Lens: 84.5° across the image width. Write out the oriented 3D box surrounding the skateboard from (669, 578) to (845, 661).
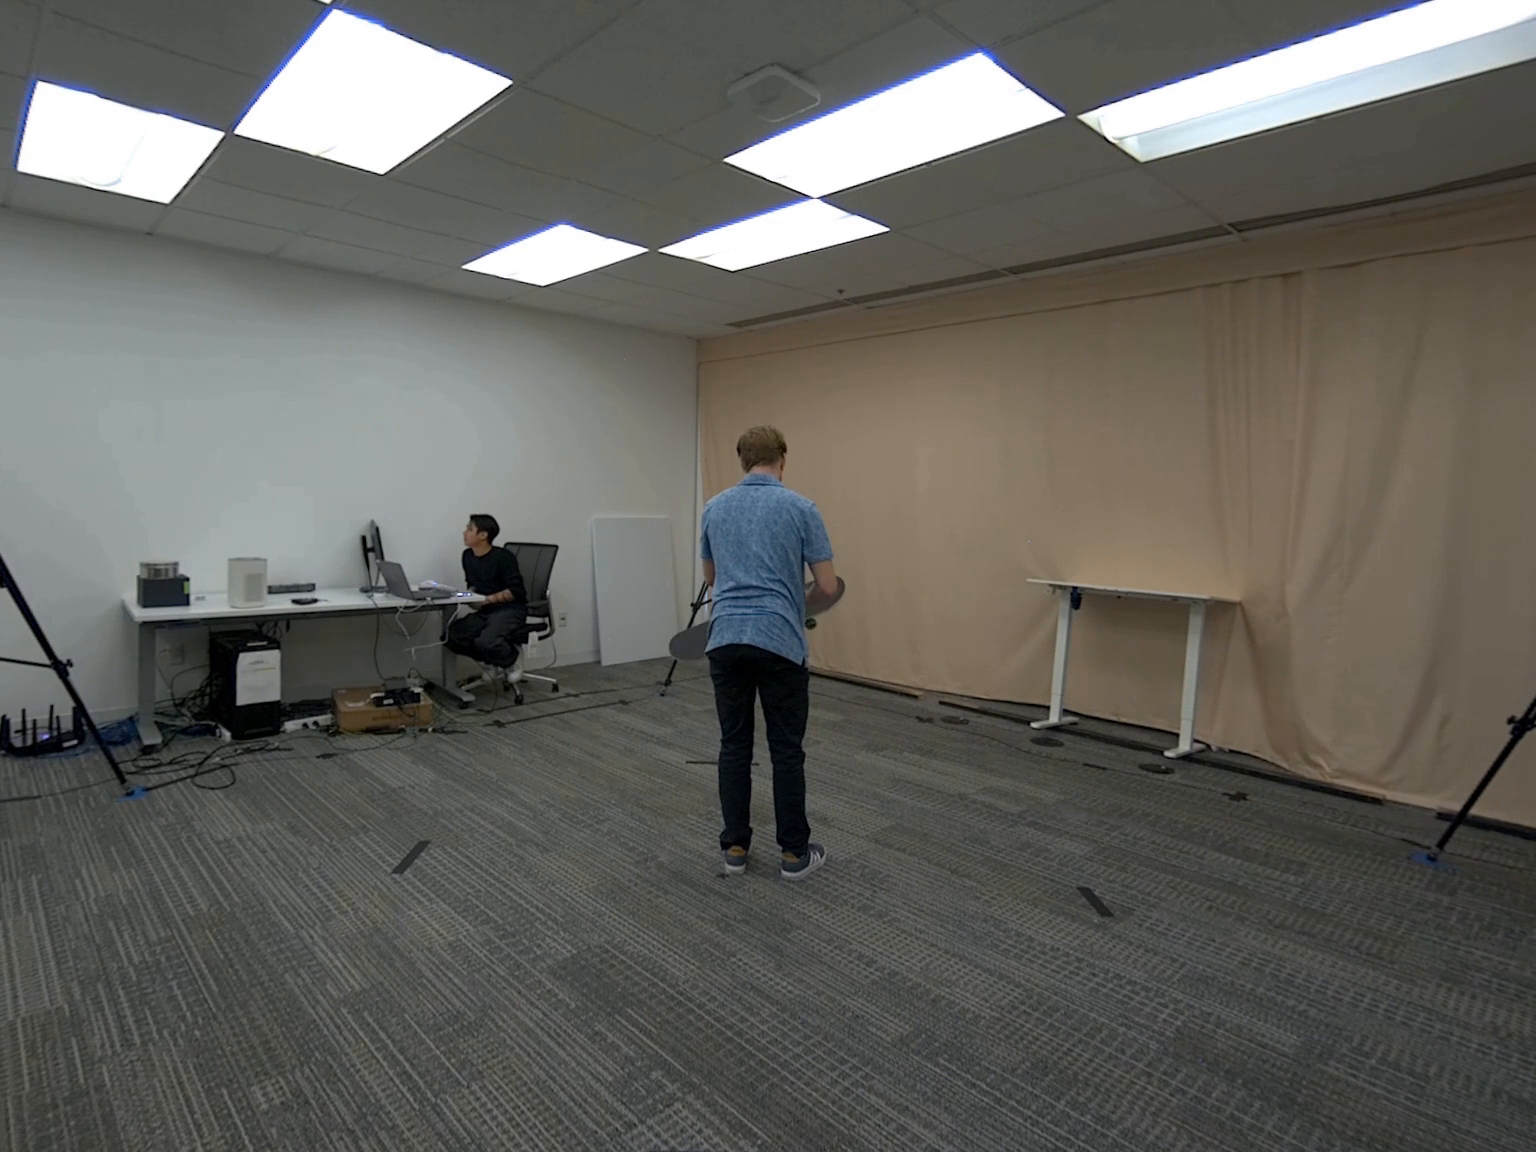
[{"bbox_3d":[-0.044,0.209,3.555,0.785,0.107,0.199,-23,43,0],"label":"skateboard"}]
